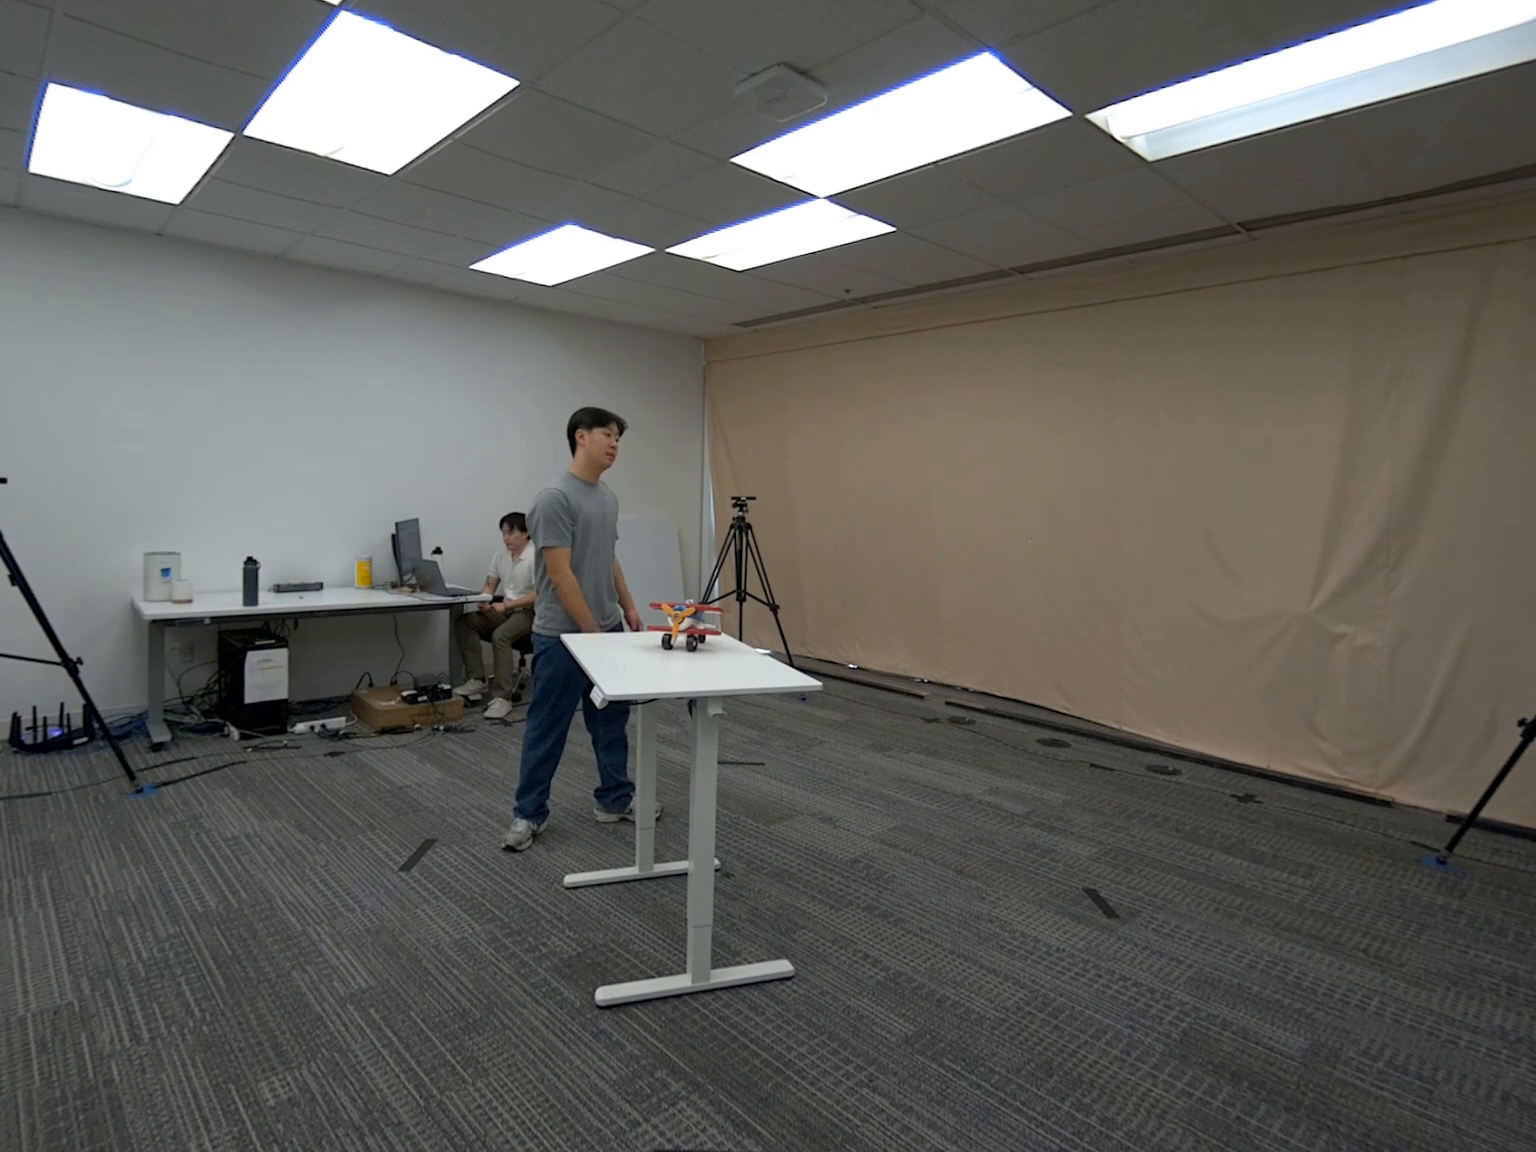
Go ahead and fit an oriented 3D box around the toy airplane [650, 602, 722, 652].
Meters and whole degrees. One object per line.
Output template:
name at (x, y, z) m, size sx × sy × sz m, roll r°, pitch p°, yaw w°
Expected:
toy airplane at (-0.298, 0.162, 2.873) m, size 0.248 × 0.156 × 0.263 m, roll 1°, pitch 5°, yaw -16°
